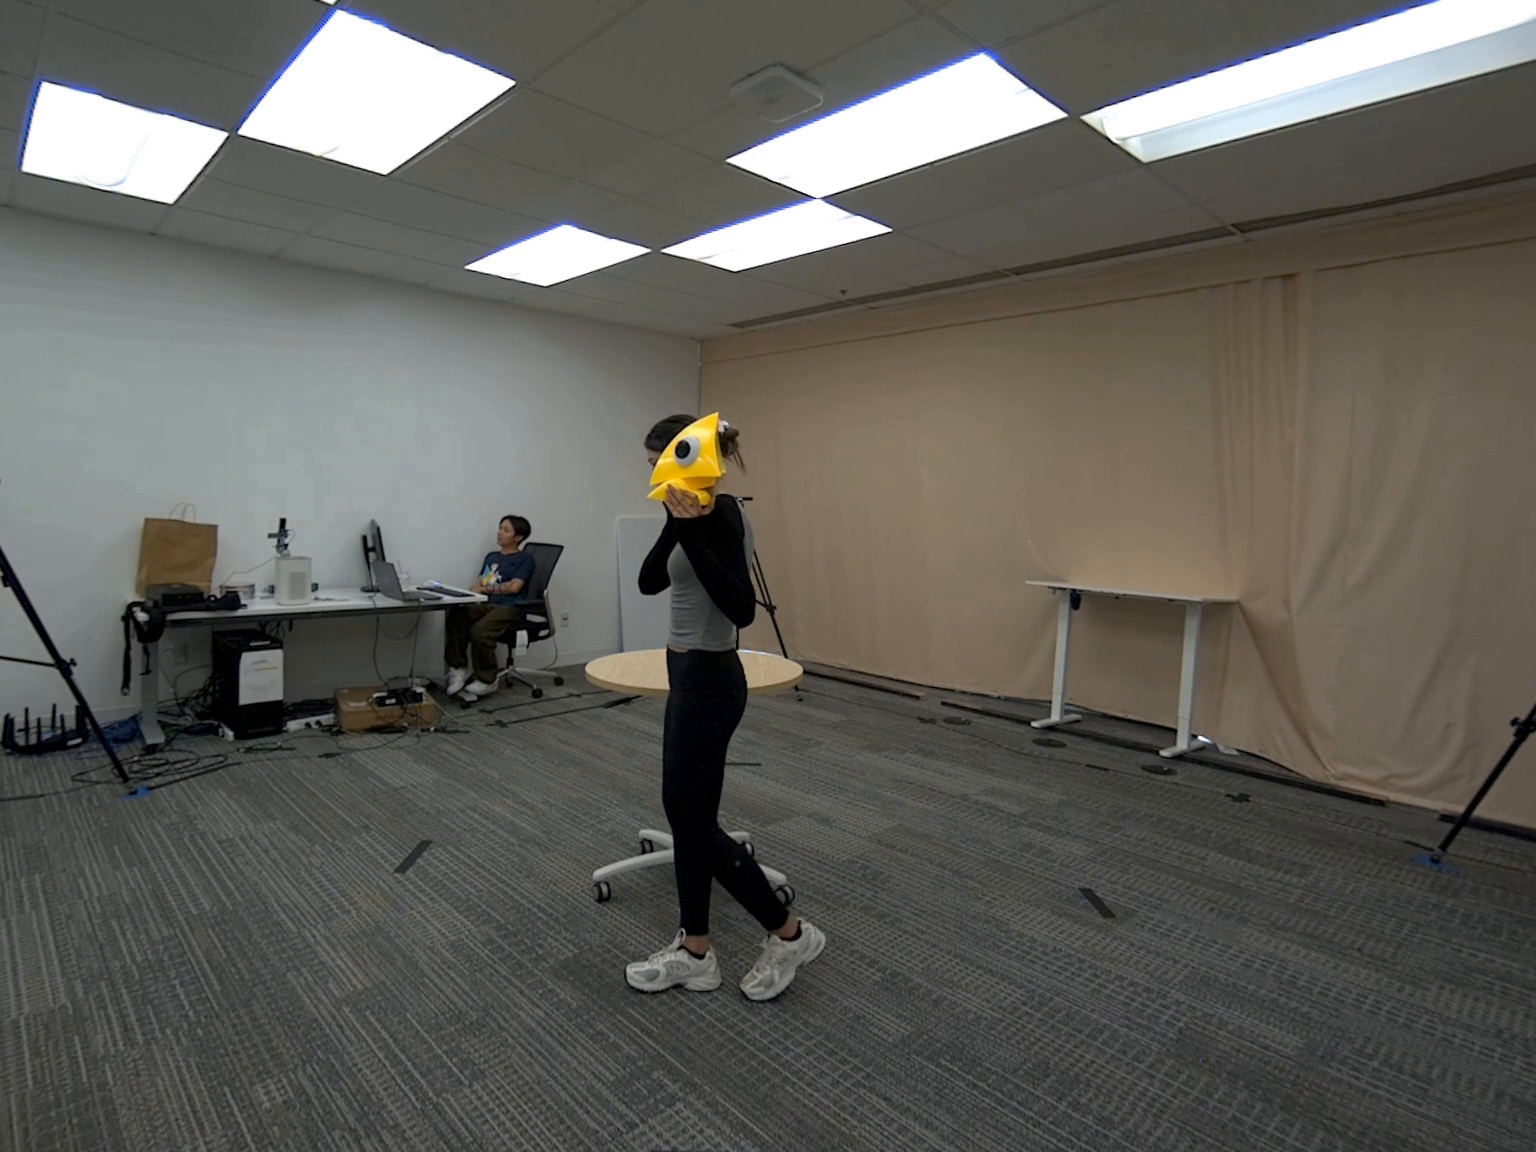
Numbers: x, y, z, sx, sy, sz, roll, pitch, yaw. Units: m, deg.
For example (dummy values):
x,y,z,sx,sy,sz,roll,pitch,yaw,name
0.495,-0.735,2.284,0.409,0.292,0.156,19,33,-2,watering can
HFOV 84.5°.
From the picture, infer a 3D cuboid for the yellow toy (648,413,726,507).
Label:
x,y,z,sx,sy,sz,roll,pitch,yaw,name
-0.212,-0.313,2.154,0.193,0.229,0.206,8,11,2,yellow toy
